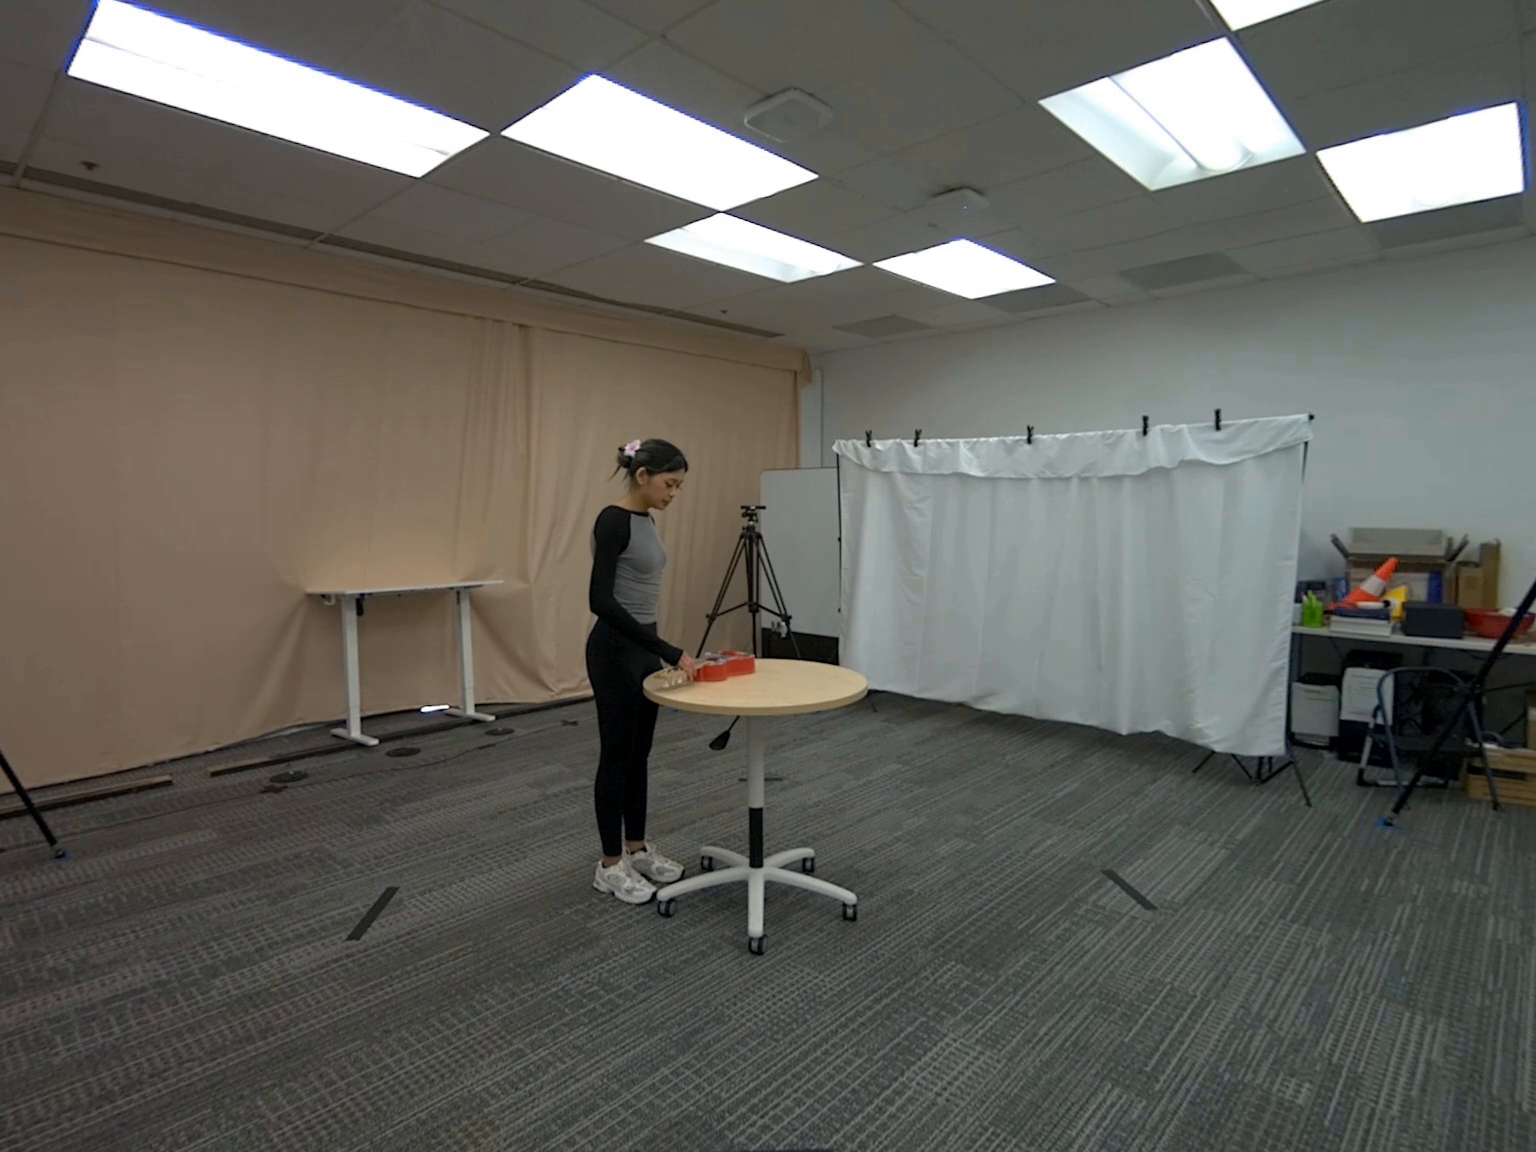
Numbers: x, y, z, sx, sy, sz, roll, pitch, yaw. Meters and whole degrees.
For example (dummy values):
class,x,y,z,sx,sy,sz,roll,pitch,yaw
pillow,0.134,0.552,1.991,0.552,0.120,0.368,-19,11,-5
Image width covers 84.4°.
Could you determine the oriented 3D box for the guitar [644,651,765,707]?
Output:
class,x,y,z,sx,sy,sz,roll,pitch,yaw
guitar,-0.252,0.327,2.917,0.199,0.070,0.483,3,7,38
